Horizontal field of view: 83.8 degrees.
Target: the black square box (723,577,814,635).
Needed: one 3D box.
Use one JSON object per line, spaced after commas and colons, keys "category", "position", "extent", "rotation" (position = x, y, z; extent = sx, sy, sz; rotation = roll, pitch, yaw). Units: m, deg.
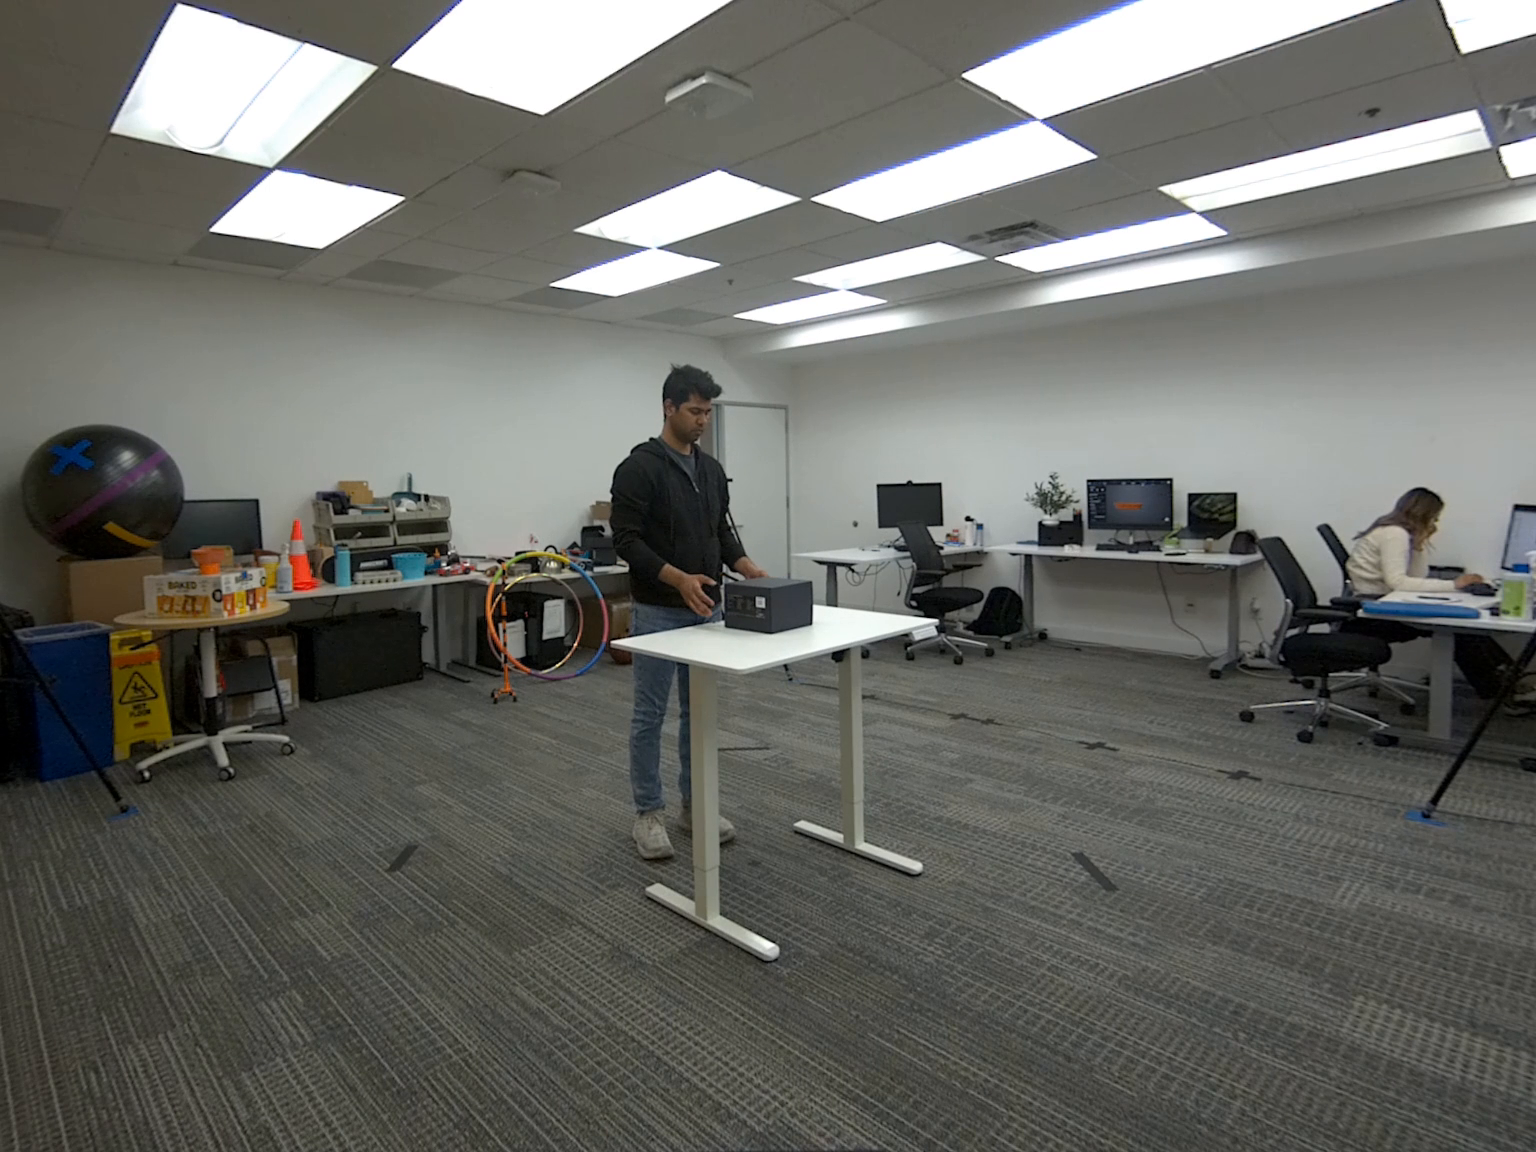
{"category": "black square box", "position": [0.011, 0.099, 2.963], "extent": [0.223, 0.155, 0.222], "rotation": [3, 7, 41]}
